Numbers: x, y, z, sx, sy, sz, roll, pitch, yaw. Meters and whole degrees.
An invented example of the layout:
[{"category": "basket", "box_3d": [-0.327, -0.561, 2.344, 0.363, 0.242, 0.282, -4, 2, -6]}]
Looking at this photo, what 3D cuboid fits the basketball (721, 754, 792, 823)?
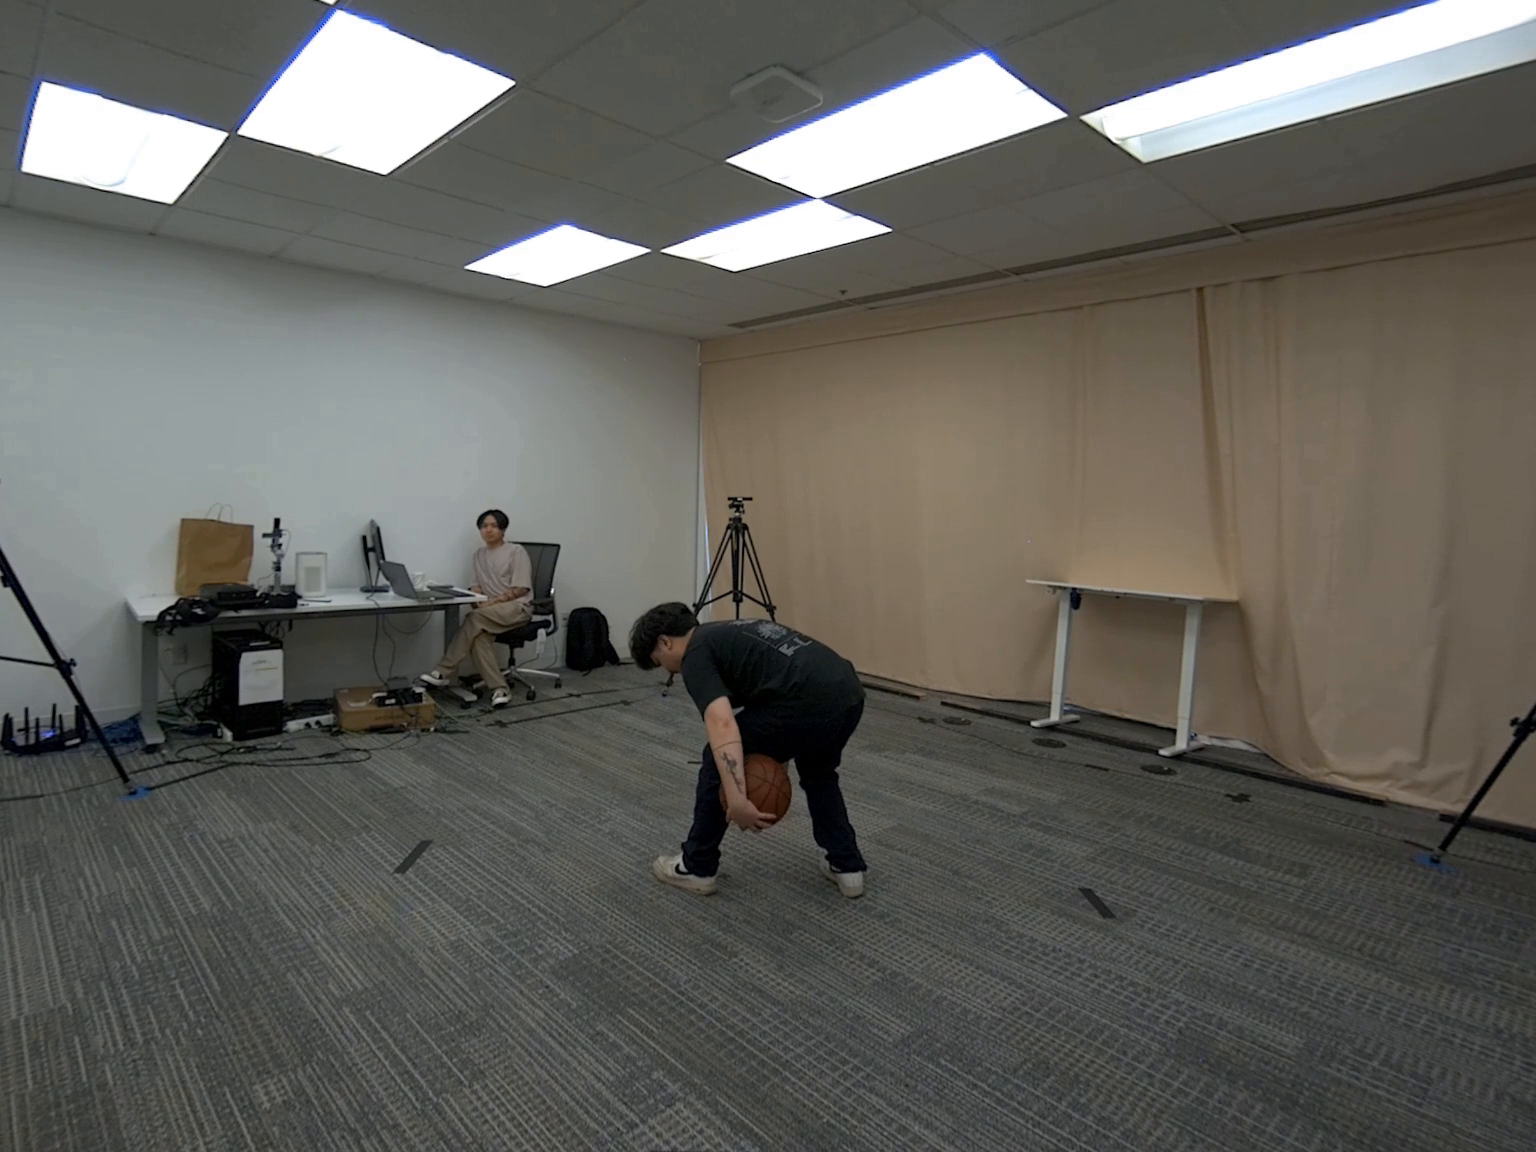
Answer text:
[{"category": "basketball", "box_3d": [-0.049, 0.708, 2.773, 0.236, 0.235, 0.237, 1, 4, -1]}]
